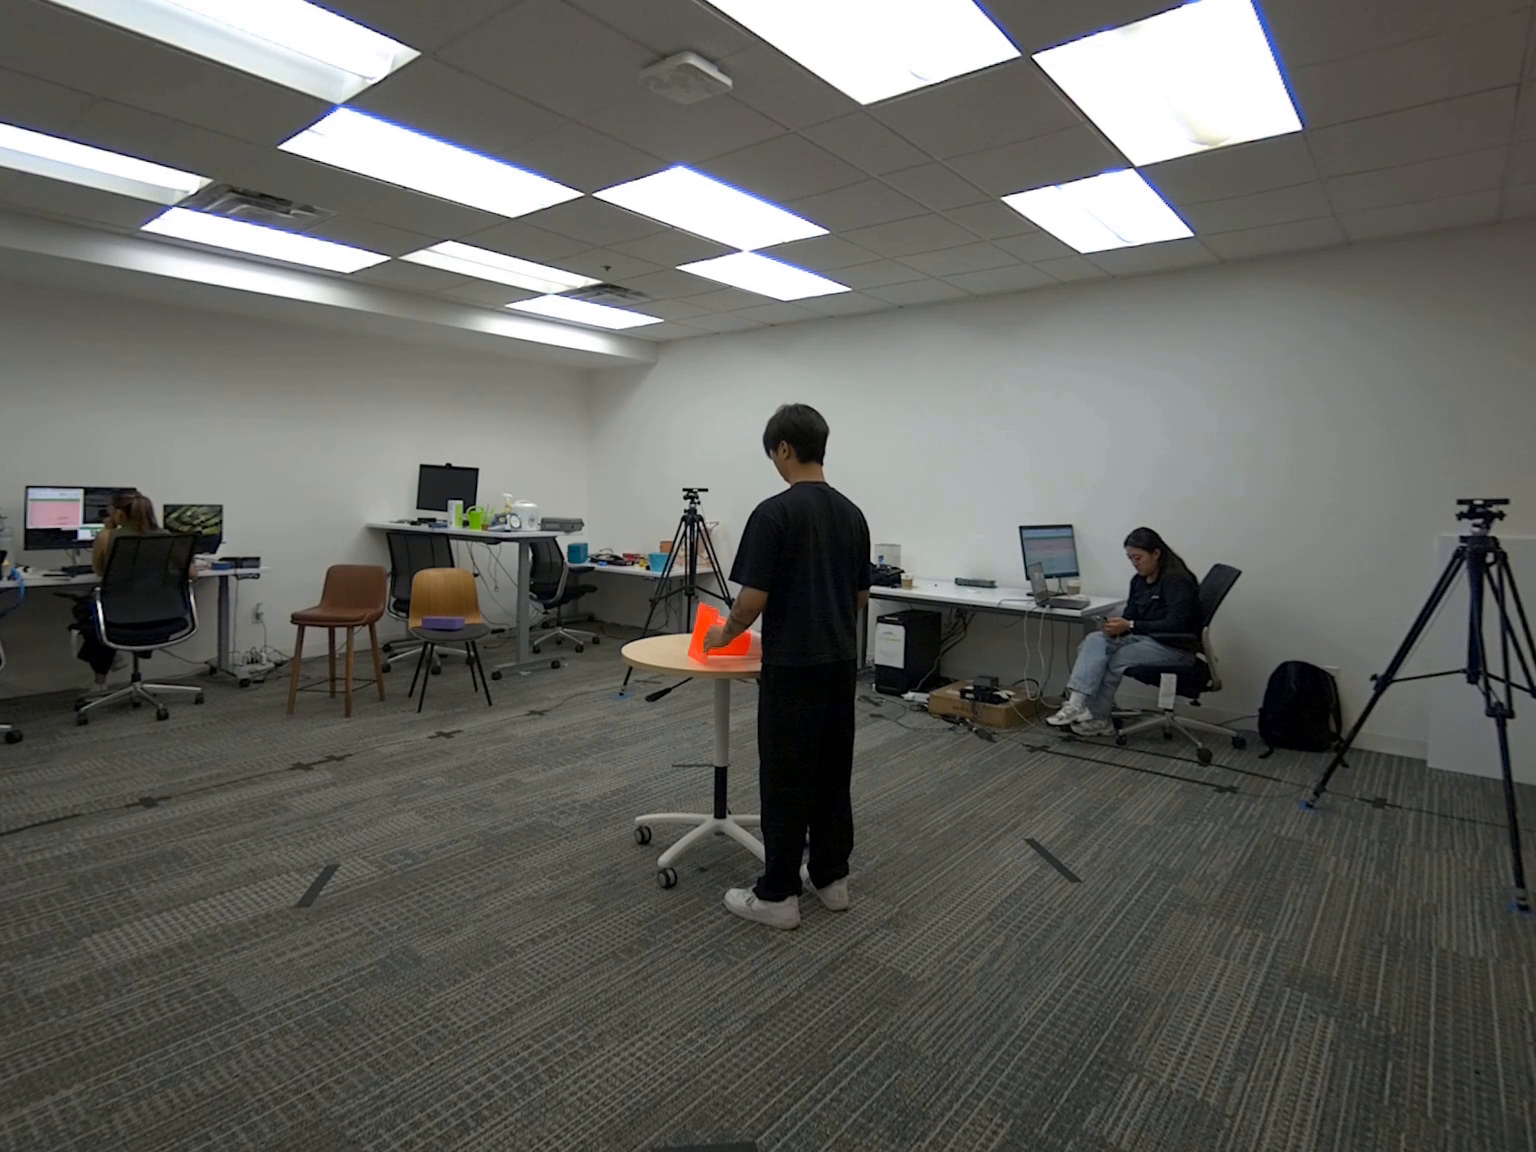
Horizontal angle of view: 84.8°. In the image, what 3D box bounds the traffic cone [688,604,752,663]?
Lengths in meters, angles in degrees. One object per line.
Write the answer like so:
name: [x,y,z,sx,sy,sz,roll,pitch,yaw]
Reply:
traffic cone: [-0.061,0.244,3.070,0.375,0.203,0.210,12,2,-20]
